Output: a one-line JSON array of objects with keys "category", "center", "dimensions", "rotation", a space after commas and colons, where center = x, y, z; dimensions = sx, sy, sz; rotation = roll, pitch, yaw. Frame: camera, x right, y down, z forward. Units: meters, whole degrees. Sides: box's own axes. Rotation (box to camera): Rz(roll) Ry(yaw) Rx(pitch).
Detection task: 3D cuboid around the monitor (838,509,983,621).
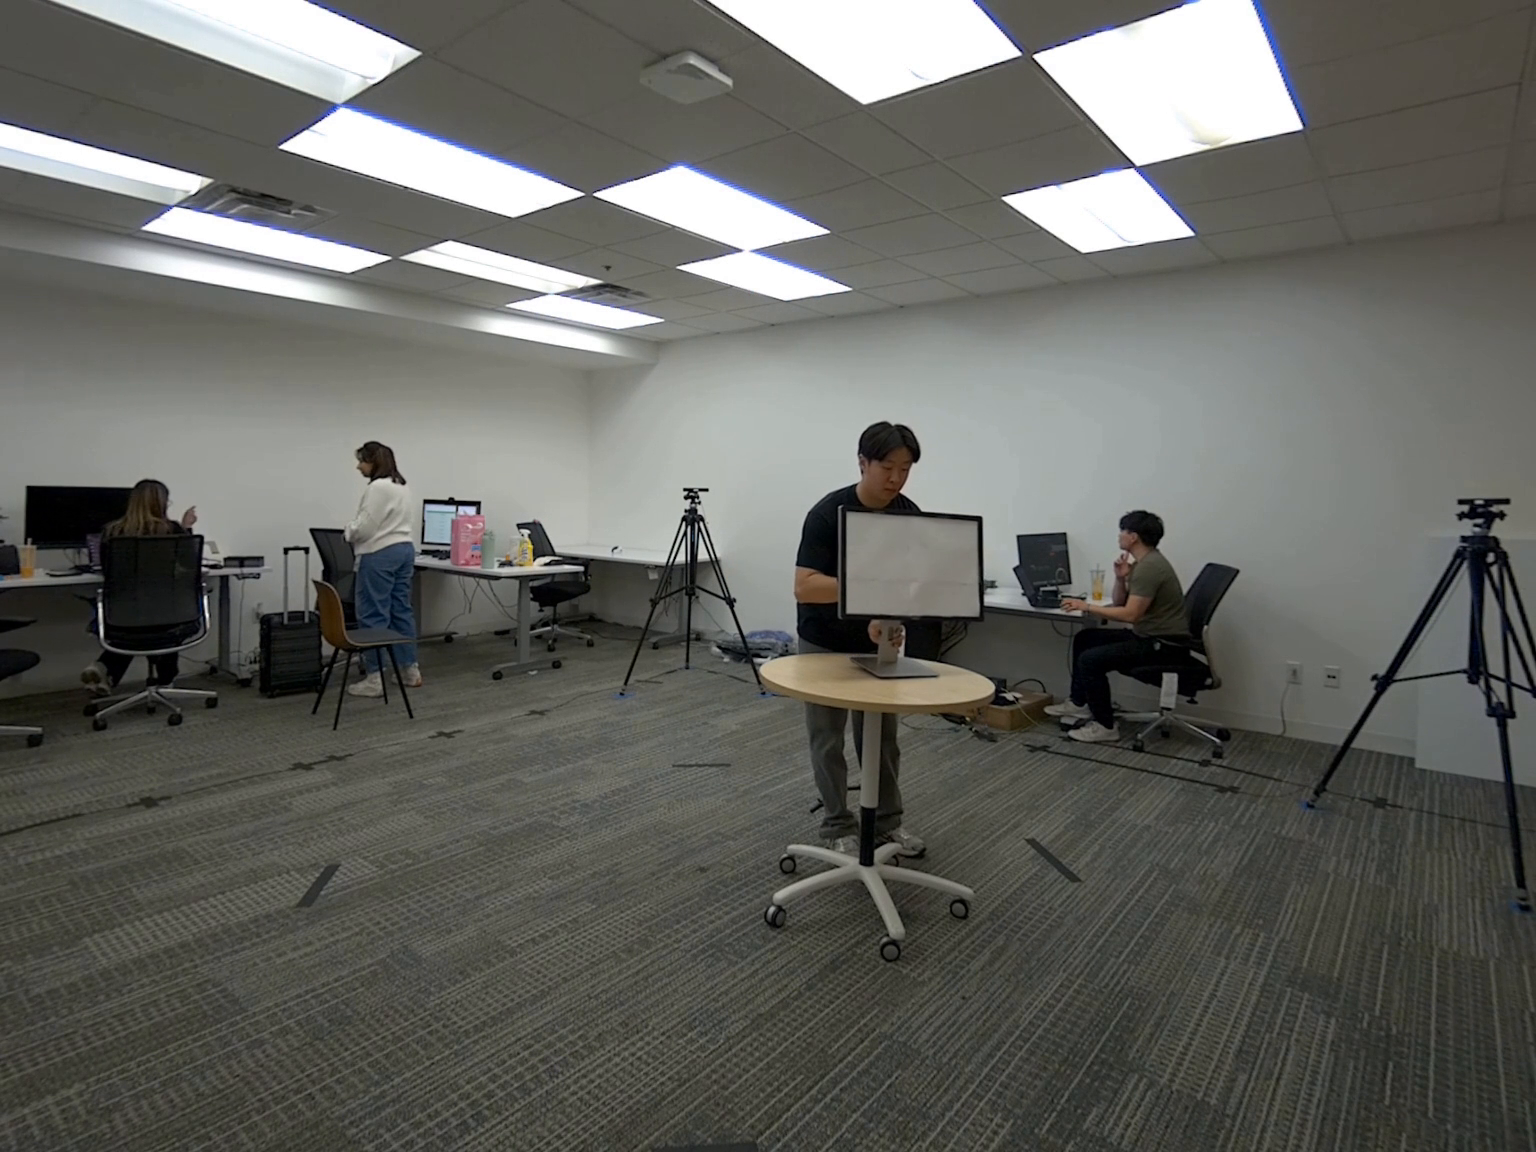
[{"category": "monitor", "center": [0.457, 0.057, 2.867], "dimensions": [0.550, 0.562, 0.228], "rotation": [3, 9, -19]}]
